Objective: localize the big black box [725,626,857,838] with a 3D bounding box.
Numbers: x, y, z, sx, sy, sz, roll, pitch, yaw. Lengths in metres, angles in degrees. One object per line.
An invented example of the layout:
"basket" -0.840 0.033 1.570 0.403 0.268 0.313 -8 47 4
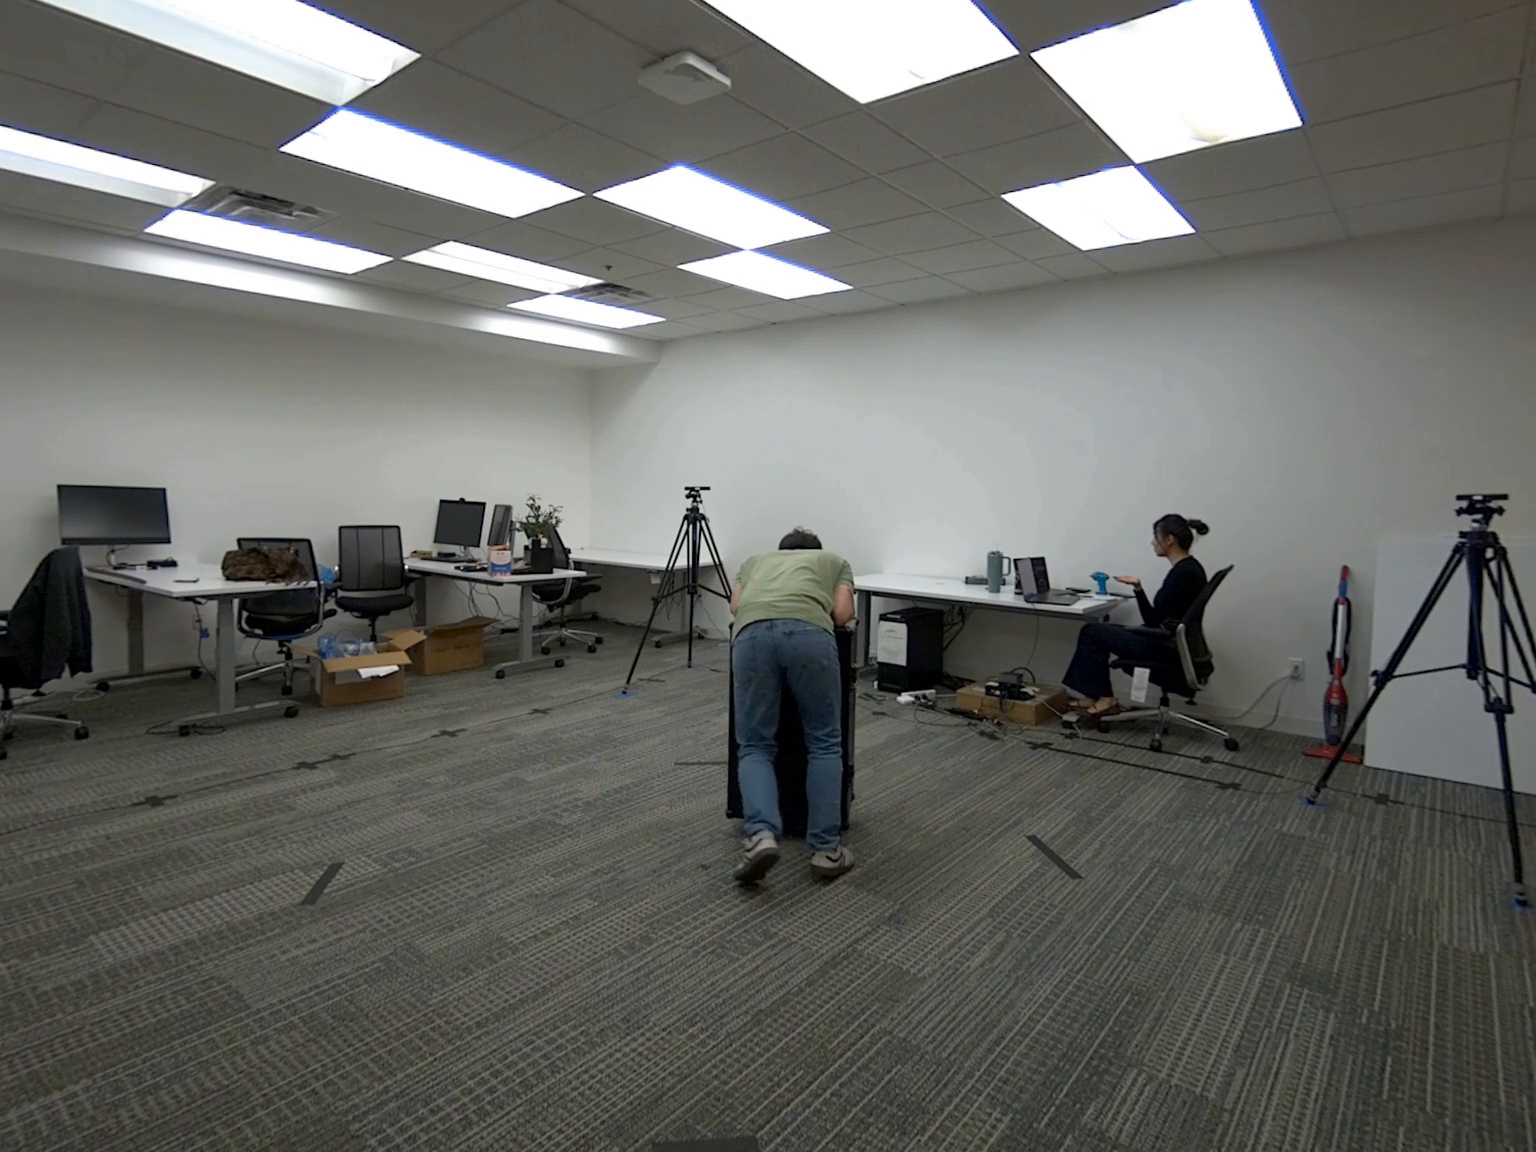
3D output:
"big black box" 0.095 0.609 3.524 0.528 0.860 0.391 2 1 11
